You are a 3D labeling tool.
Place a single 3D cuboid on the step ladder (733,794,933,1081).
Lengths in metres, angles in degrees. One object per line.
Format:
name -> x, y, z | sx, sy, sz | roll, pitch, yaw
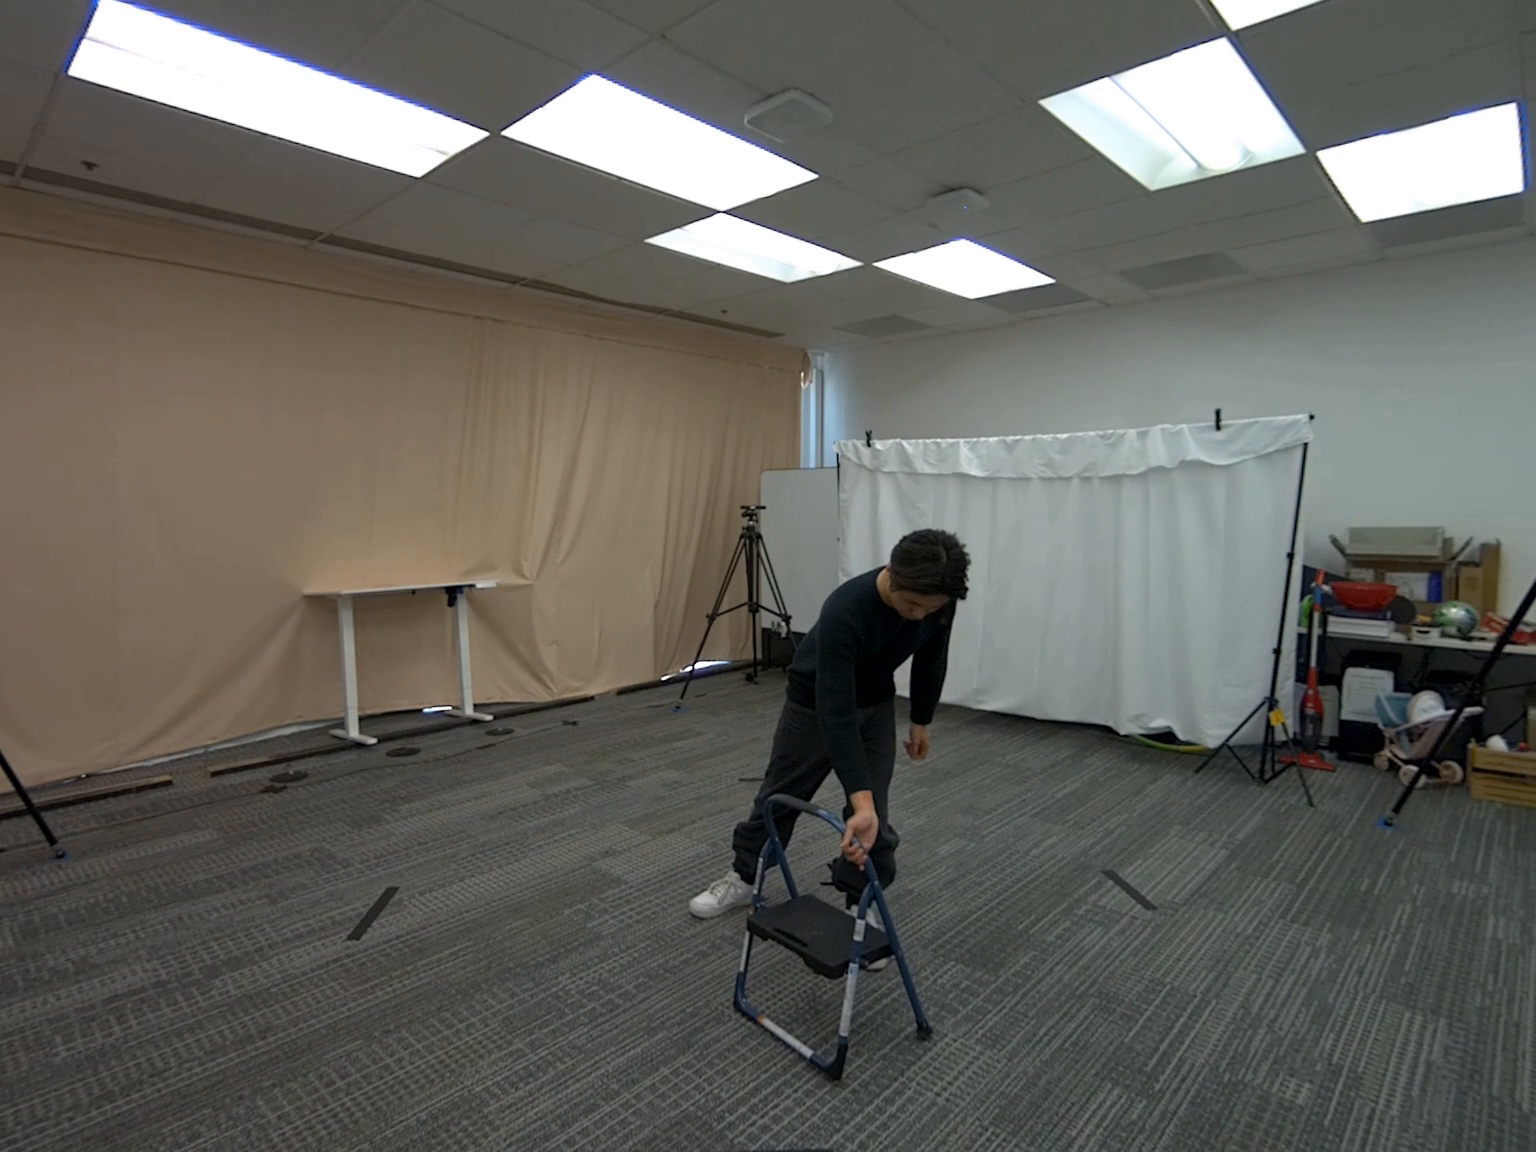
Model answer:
step ladder -> 0.156, 0.892, 2.265 | 0.339, 0.605, 0.444 | -2, 2, -38
